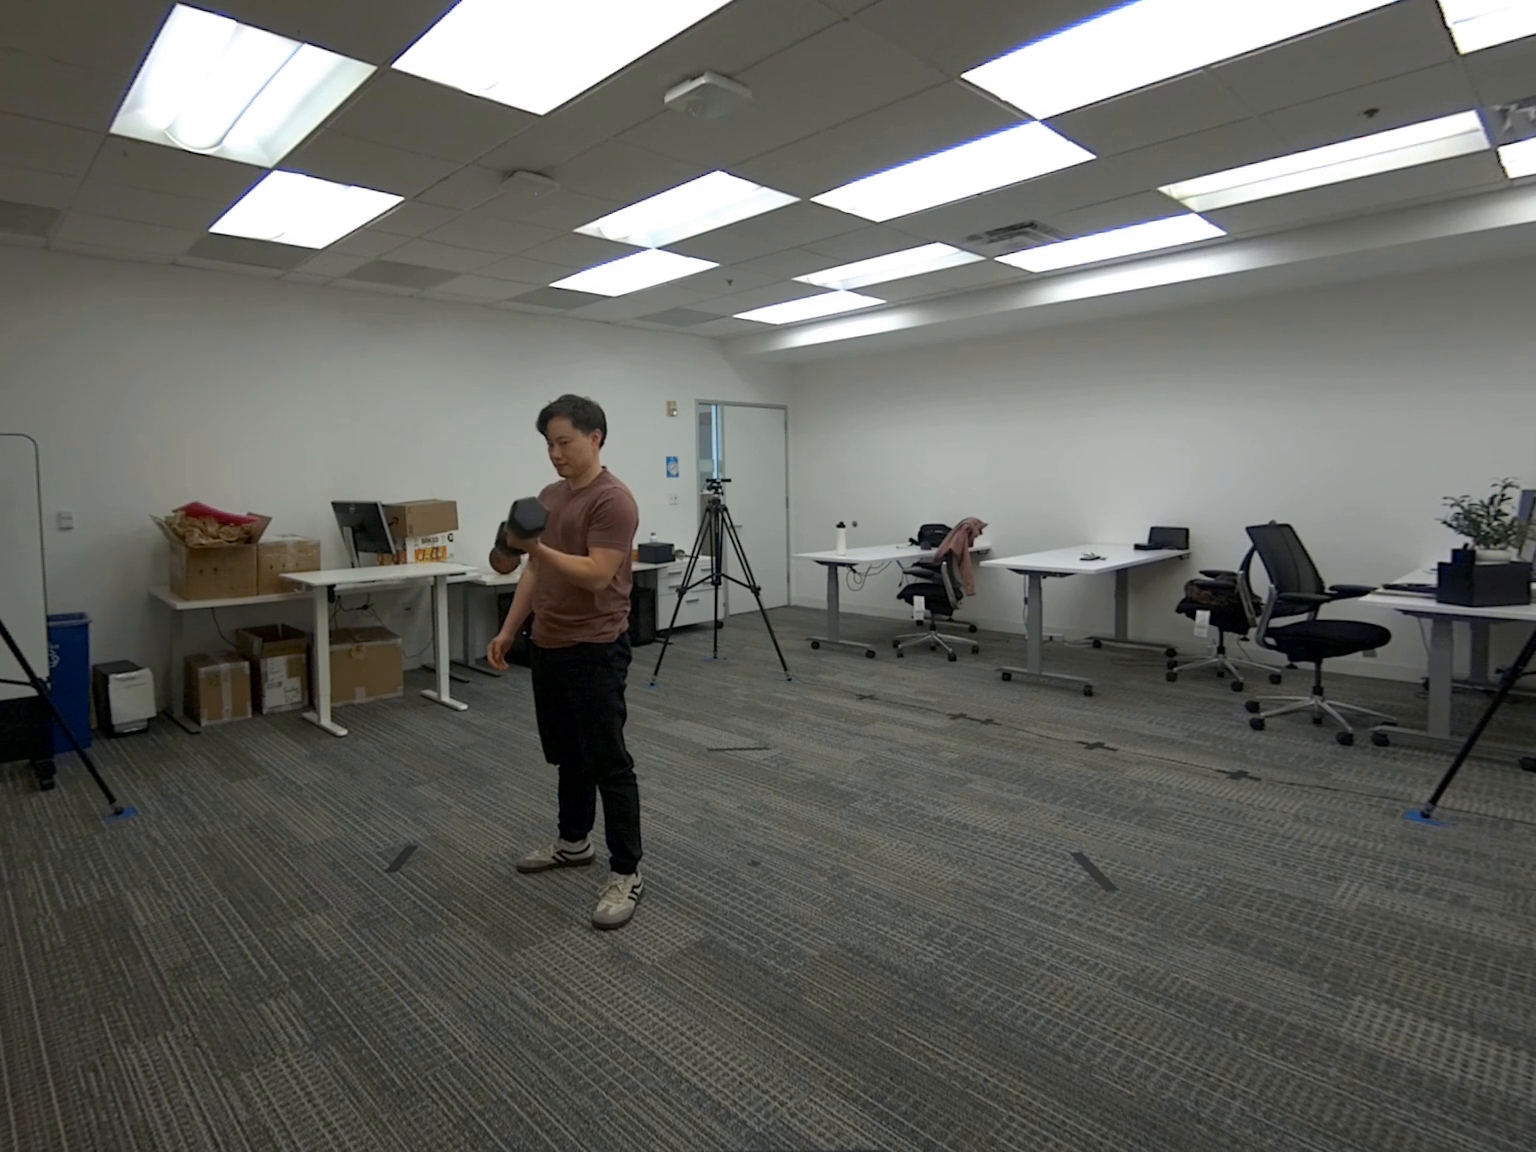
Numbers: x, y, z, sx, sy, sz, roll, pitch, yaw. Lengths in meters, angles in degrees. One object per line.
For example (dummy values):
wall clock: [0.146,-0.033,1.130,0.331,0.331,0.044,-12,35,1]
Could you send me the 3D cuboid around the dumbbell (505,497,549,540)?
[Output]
dumbbell: [-0.753,-0.133,2.594,0.121,0.110,0.296,-17,-6,-29]
